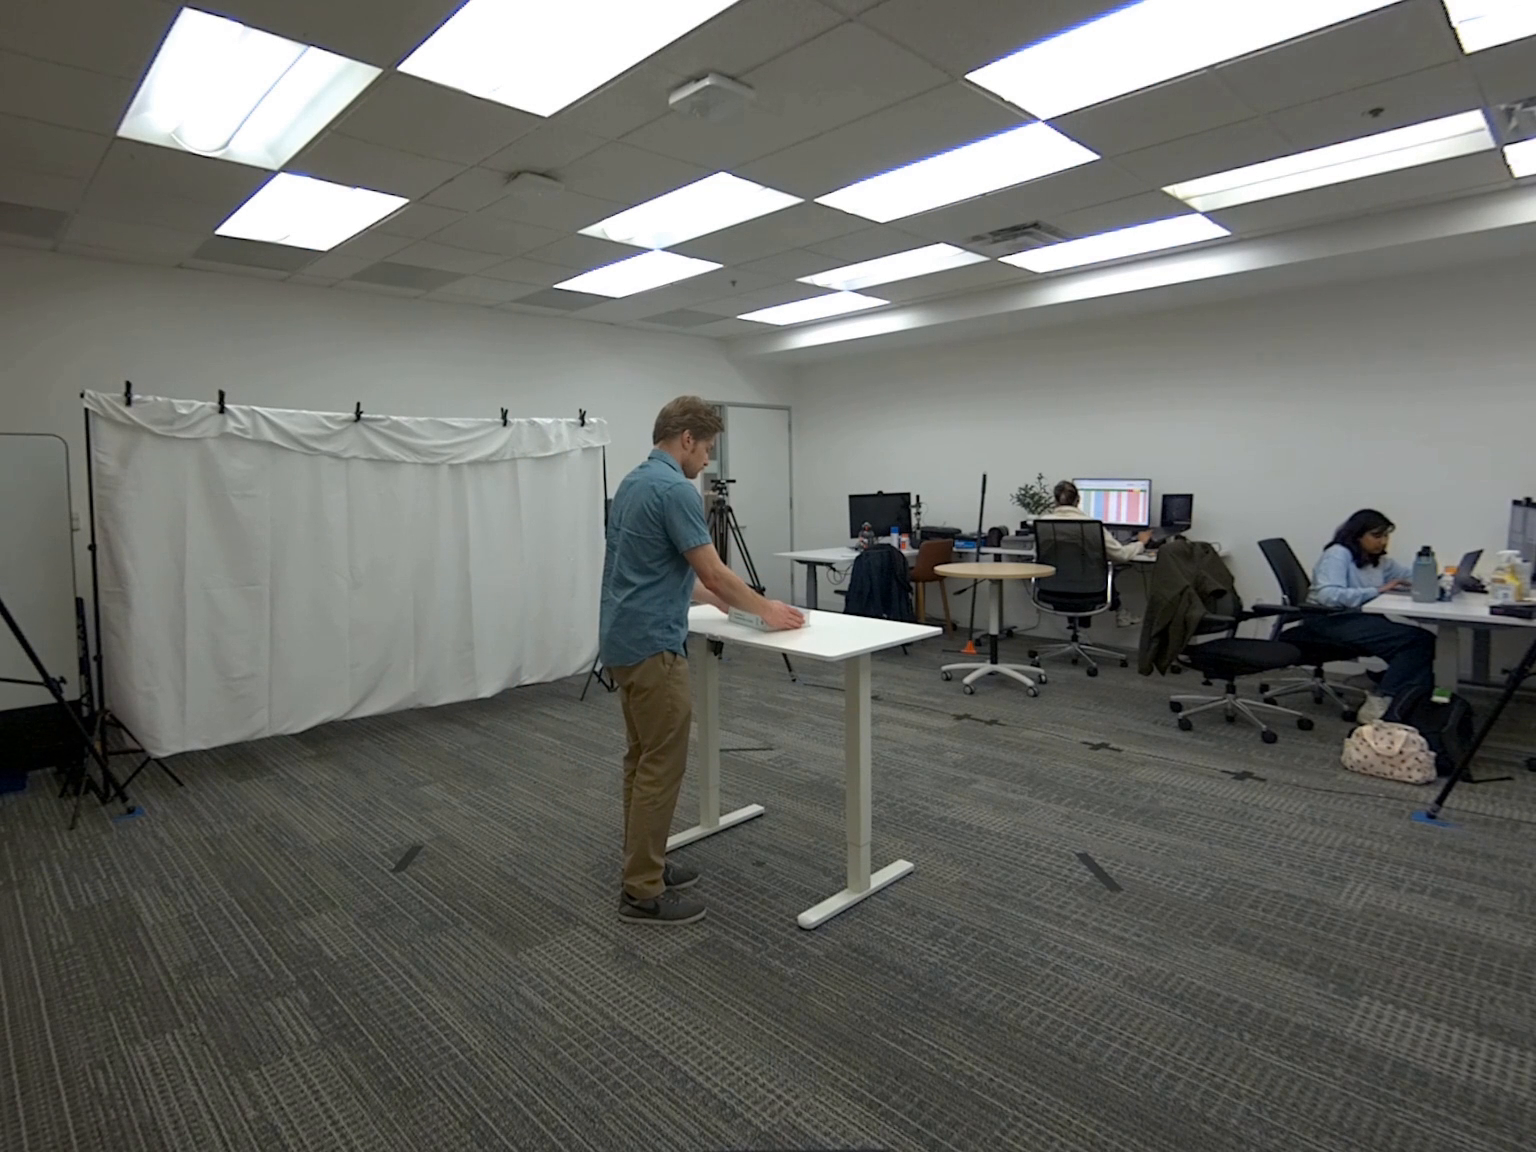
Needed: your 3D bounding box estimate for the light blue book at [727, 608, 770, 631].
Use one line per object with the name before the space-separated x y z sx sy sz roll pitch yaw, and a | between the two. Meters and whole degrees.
light blue book | 0.001 0.144 3.042 0.187 0.059 0.268 -4 8 -30
